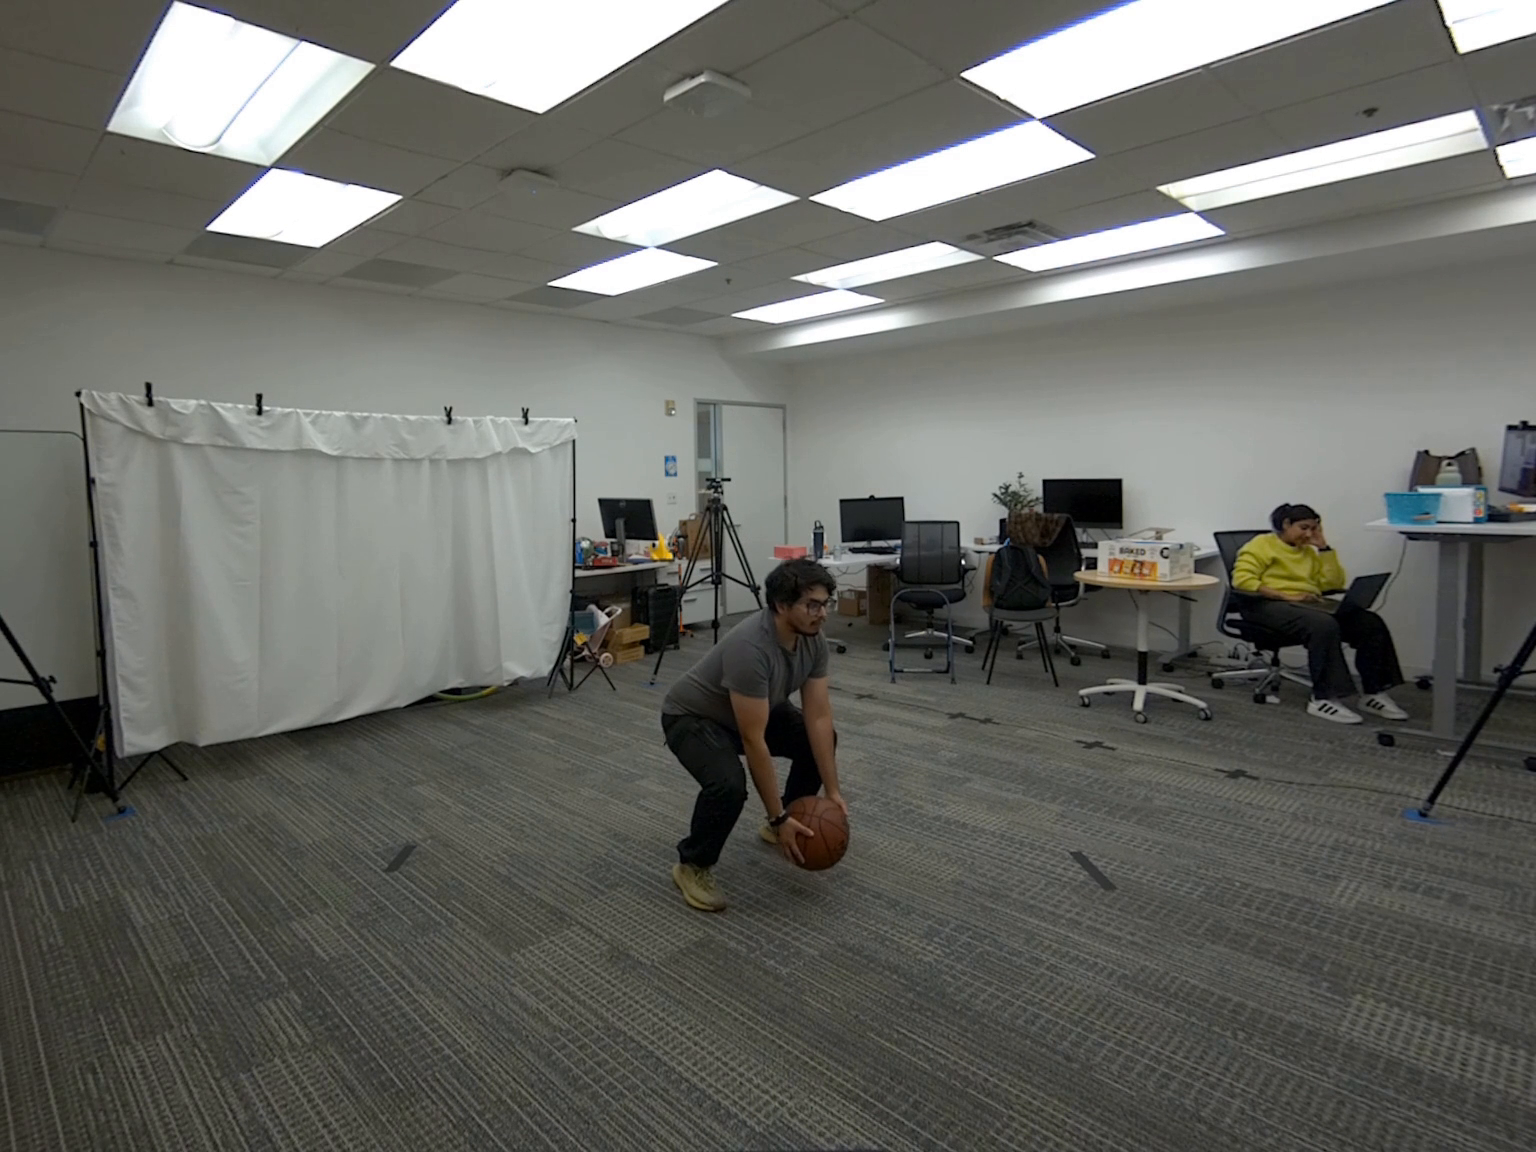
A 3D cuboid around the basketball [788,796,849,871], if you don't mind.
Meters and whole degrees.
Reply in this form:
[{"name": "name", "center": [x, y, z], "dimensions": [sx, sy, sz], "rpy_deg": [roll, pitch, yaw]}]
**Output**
[{"name": "basketball", "center": [0.149, 0.851, 2.852], "dimensions": [0.236, 0.235, 0.237], "rpy_deg": [-1, 5, -2]}]
